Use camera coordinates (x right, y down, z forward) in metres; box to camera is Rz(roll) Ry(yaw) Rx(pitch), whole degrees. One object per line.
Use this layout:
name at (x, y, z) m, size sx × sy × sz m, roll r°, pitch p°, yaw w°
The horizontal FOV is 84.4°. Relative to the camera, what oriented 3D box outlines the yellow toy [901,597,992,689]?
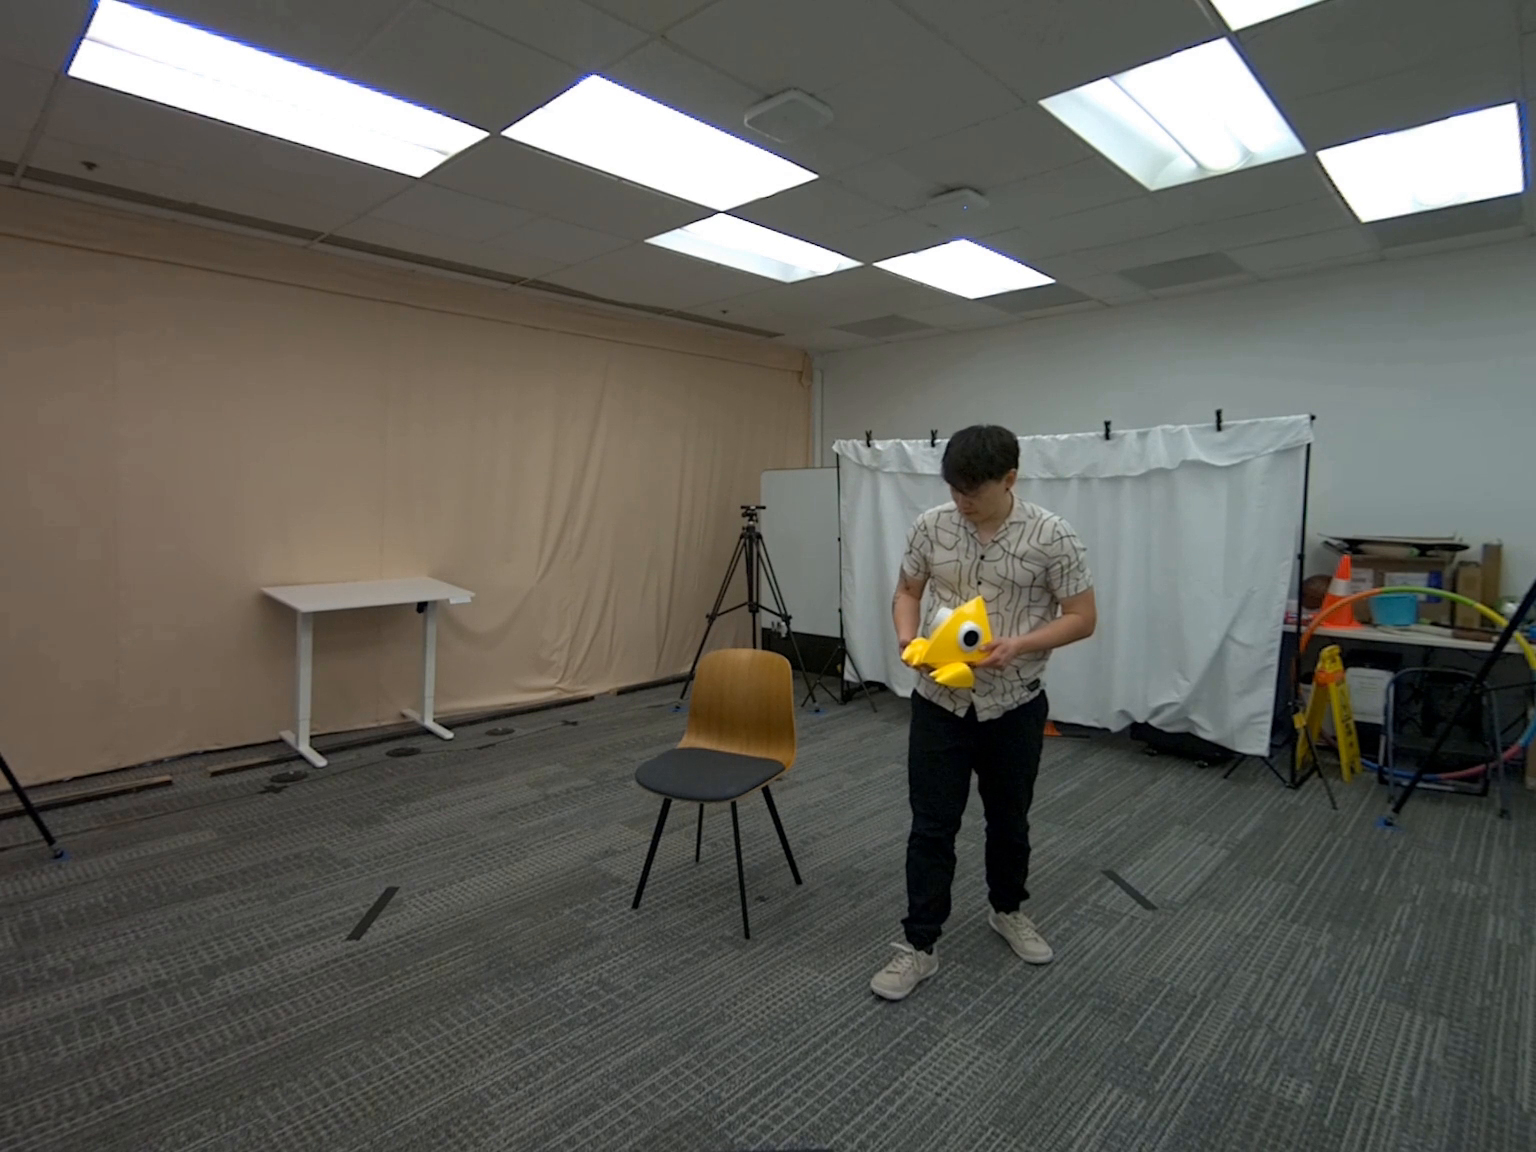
yellow toy at (0.515, 0.157, 2.362) m, size 0.187 × 0.230 × 0.212 m, roll 5°, pitch 20°, yaw -40°
